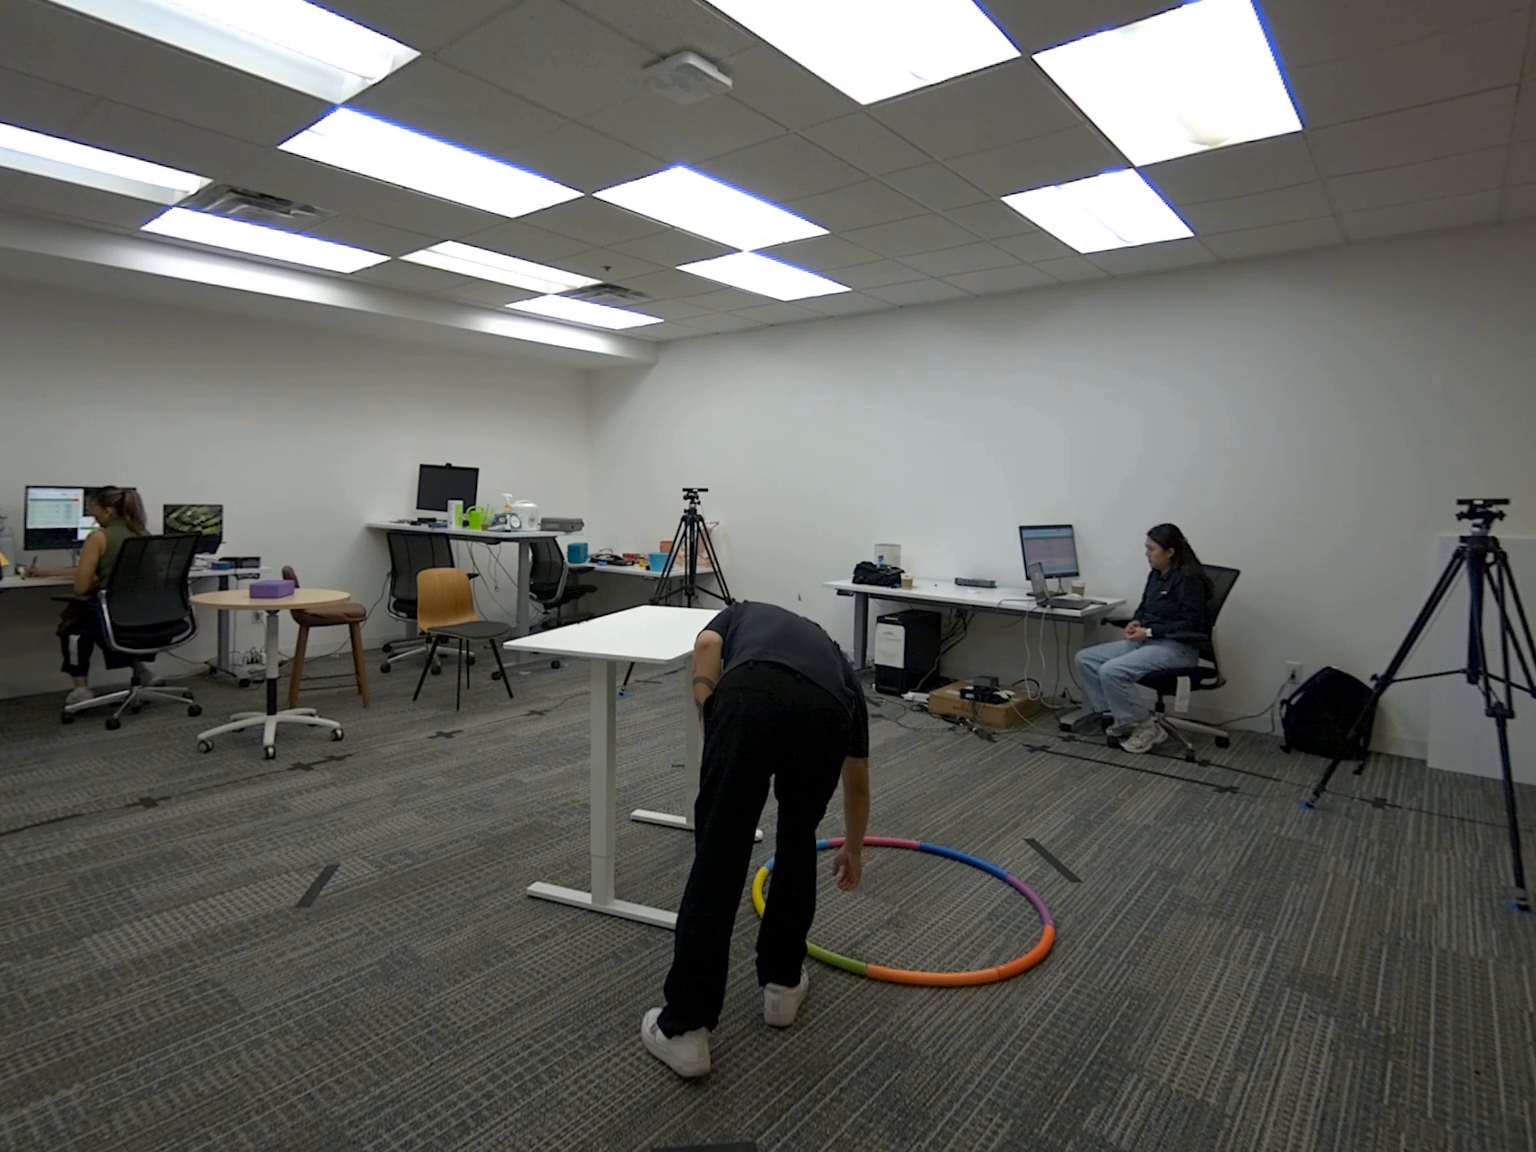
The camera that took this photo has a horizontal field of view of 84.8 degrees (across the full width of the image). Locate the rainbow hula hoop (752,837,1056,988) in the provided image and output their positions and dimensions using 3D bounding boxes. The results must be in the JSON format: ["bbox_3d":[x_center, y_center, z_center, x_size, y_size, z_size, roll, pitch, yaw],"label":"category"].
[{"bbox_3d":[0.430,1.079,2.882,0.978,0.035,0.984,1,6,-2],"label":"rainbow hula hoop"}]
